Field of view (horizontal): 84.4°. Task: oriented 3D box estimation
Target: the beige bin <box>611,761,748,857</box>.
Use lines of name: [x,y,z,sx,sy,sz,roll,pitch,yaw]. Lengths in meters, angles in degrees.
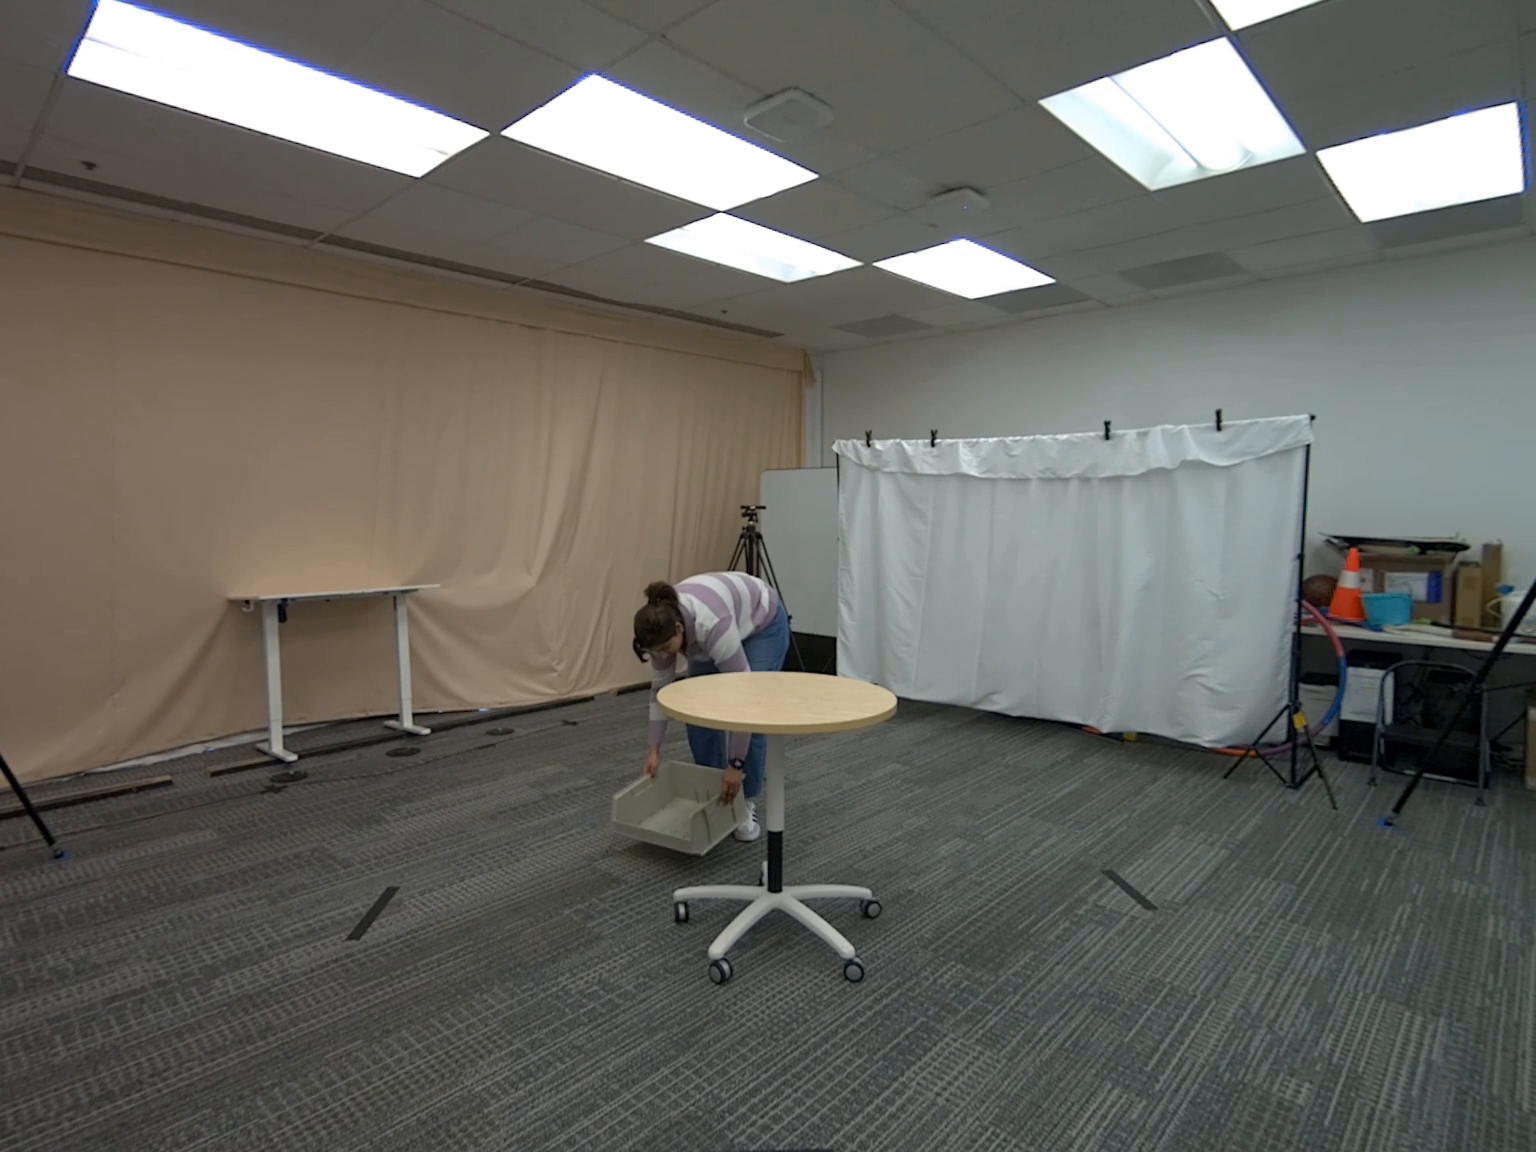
beige bin: [-0.350,0.916,3.375,0.435,0.187,0.368,0,13,38]
